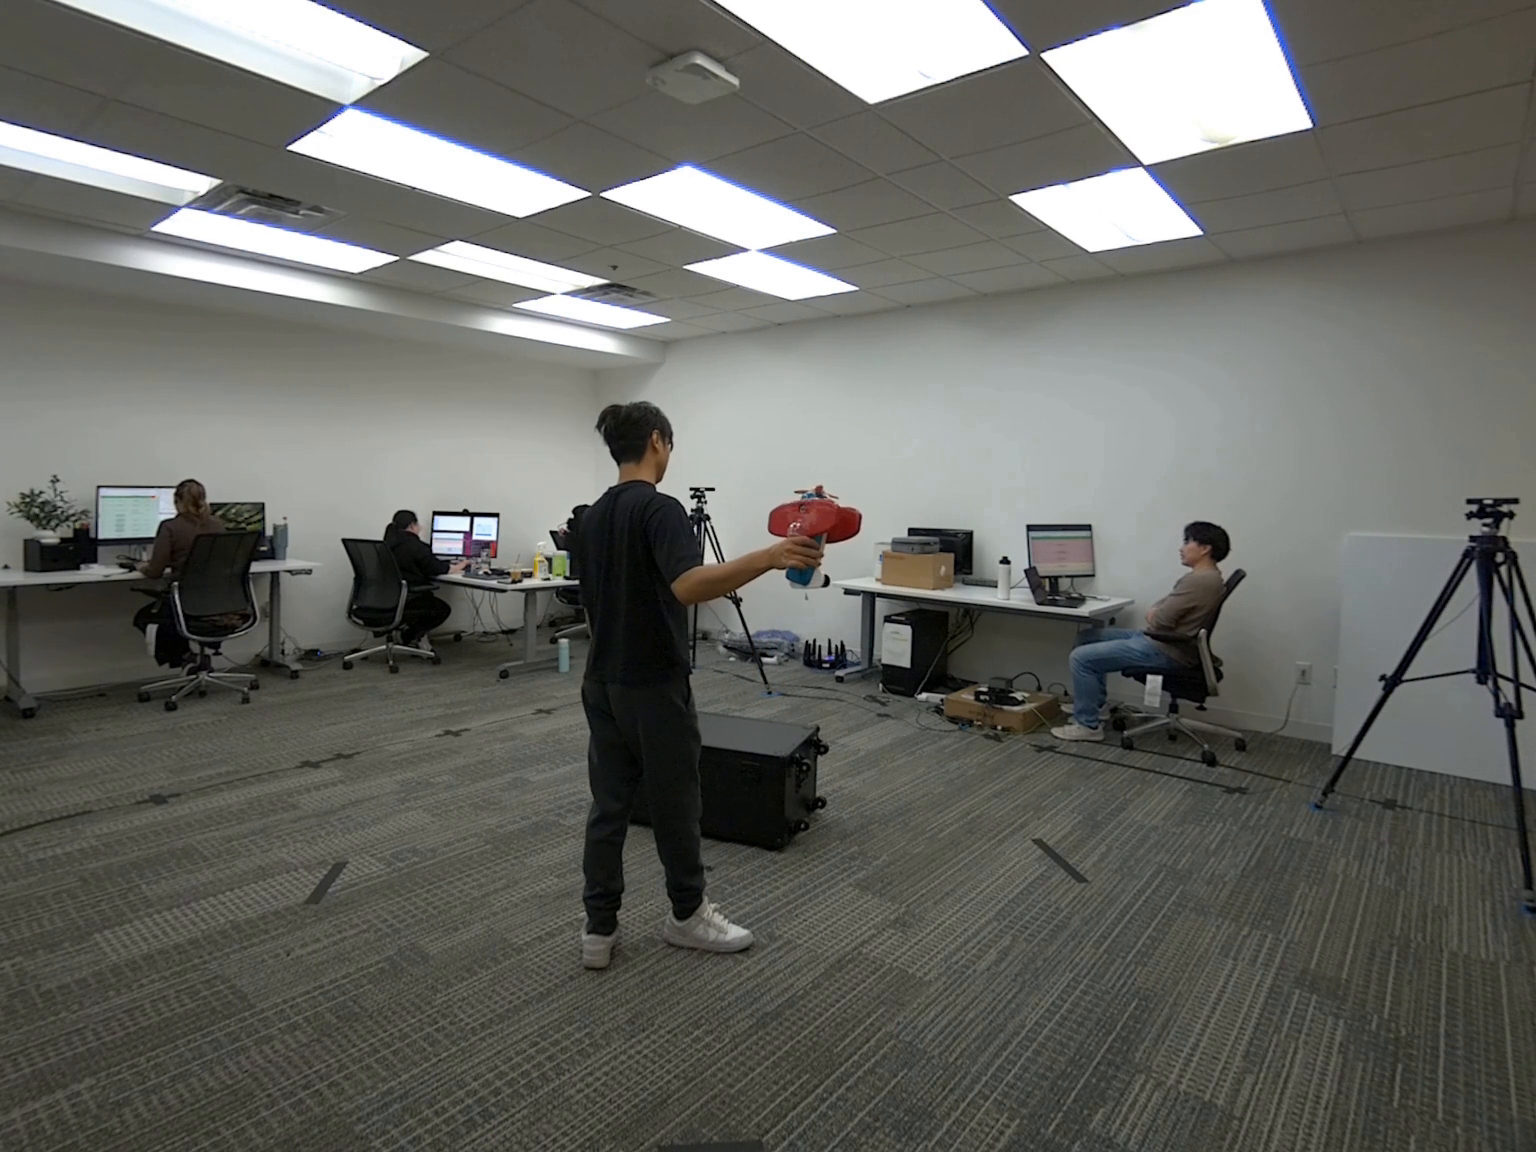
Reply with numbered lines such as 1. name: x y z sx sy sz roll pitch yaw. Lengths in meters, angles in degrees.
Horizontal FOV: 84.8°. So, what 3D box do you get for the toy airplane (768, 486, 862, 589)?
1. toy airplane: 0.124 -0.106 2.180 0.253 0.267 0.150 -33 -49 32
